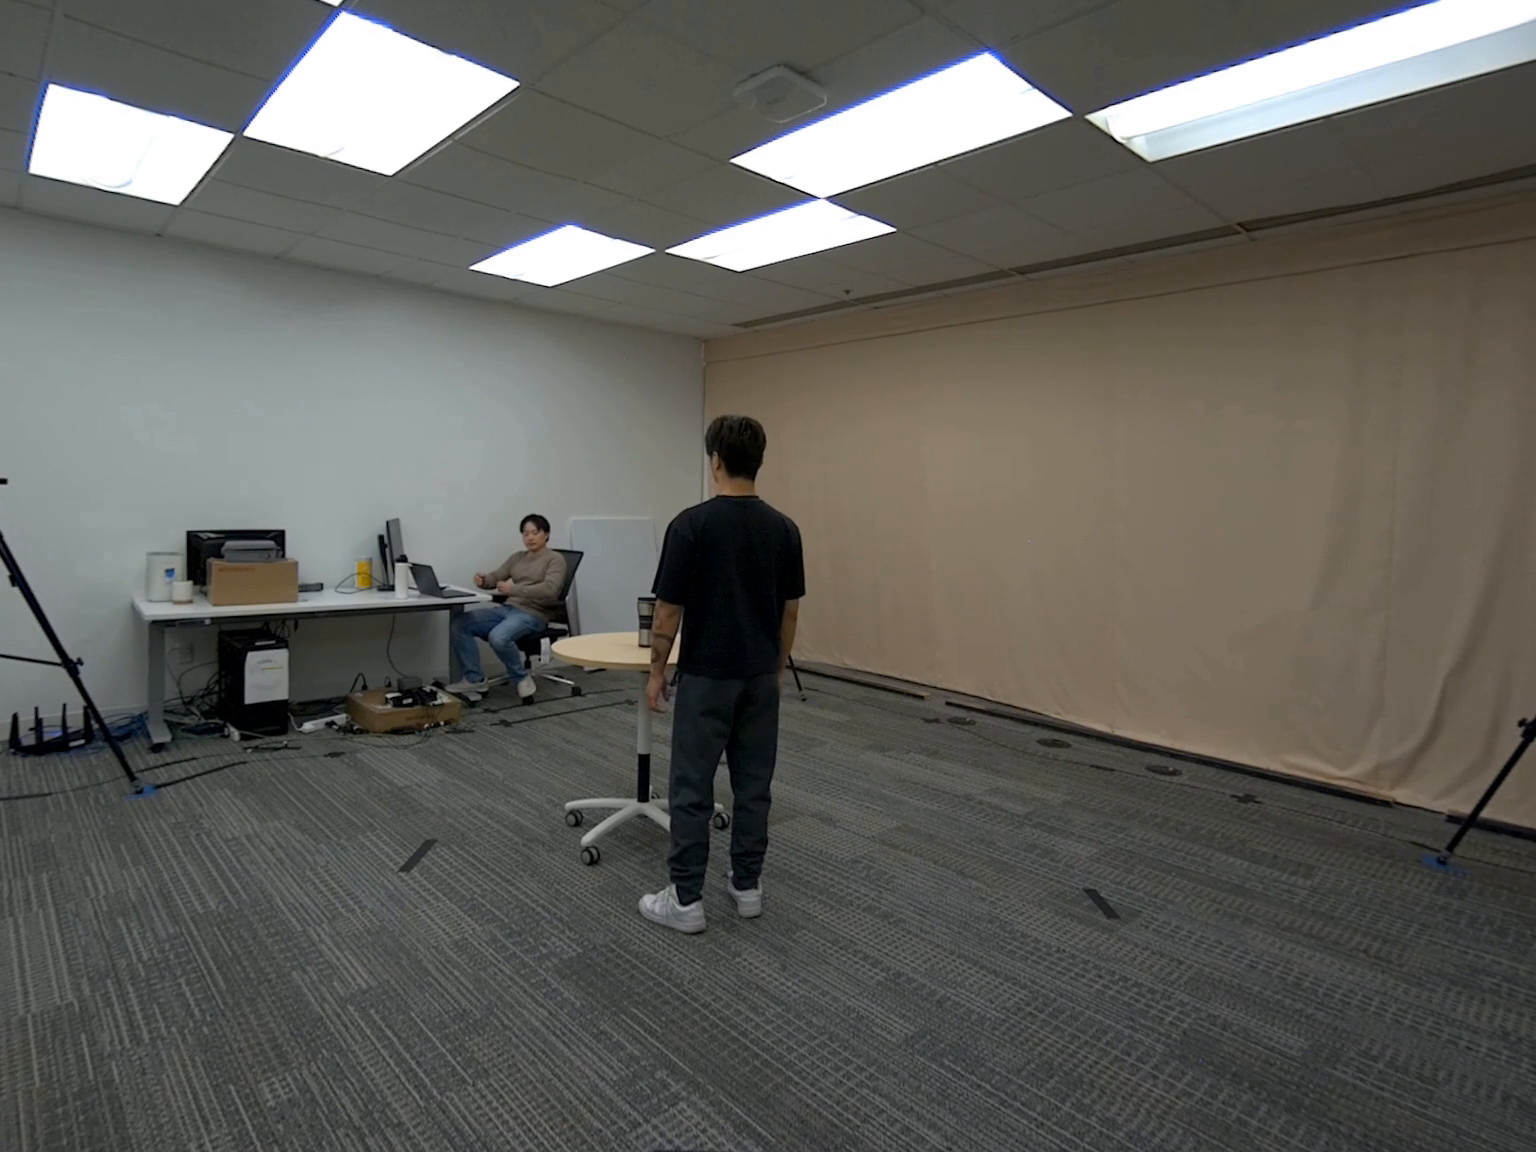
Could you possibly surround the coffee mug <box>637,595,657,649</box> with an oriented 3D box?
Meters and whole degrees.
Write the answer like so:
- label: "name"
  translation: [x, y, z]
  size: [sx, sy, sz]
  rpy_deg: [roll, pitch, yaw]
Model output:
- label: "coffee mug"
  translation: [-0.487, 0.189, 3.404]
  size: [0.086, 0.203, 0.124]
  rpy_deg: [6, -4, -31]
